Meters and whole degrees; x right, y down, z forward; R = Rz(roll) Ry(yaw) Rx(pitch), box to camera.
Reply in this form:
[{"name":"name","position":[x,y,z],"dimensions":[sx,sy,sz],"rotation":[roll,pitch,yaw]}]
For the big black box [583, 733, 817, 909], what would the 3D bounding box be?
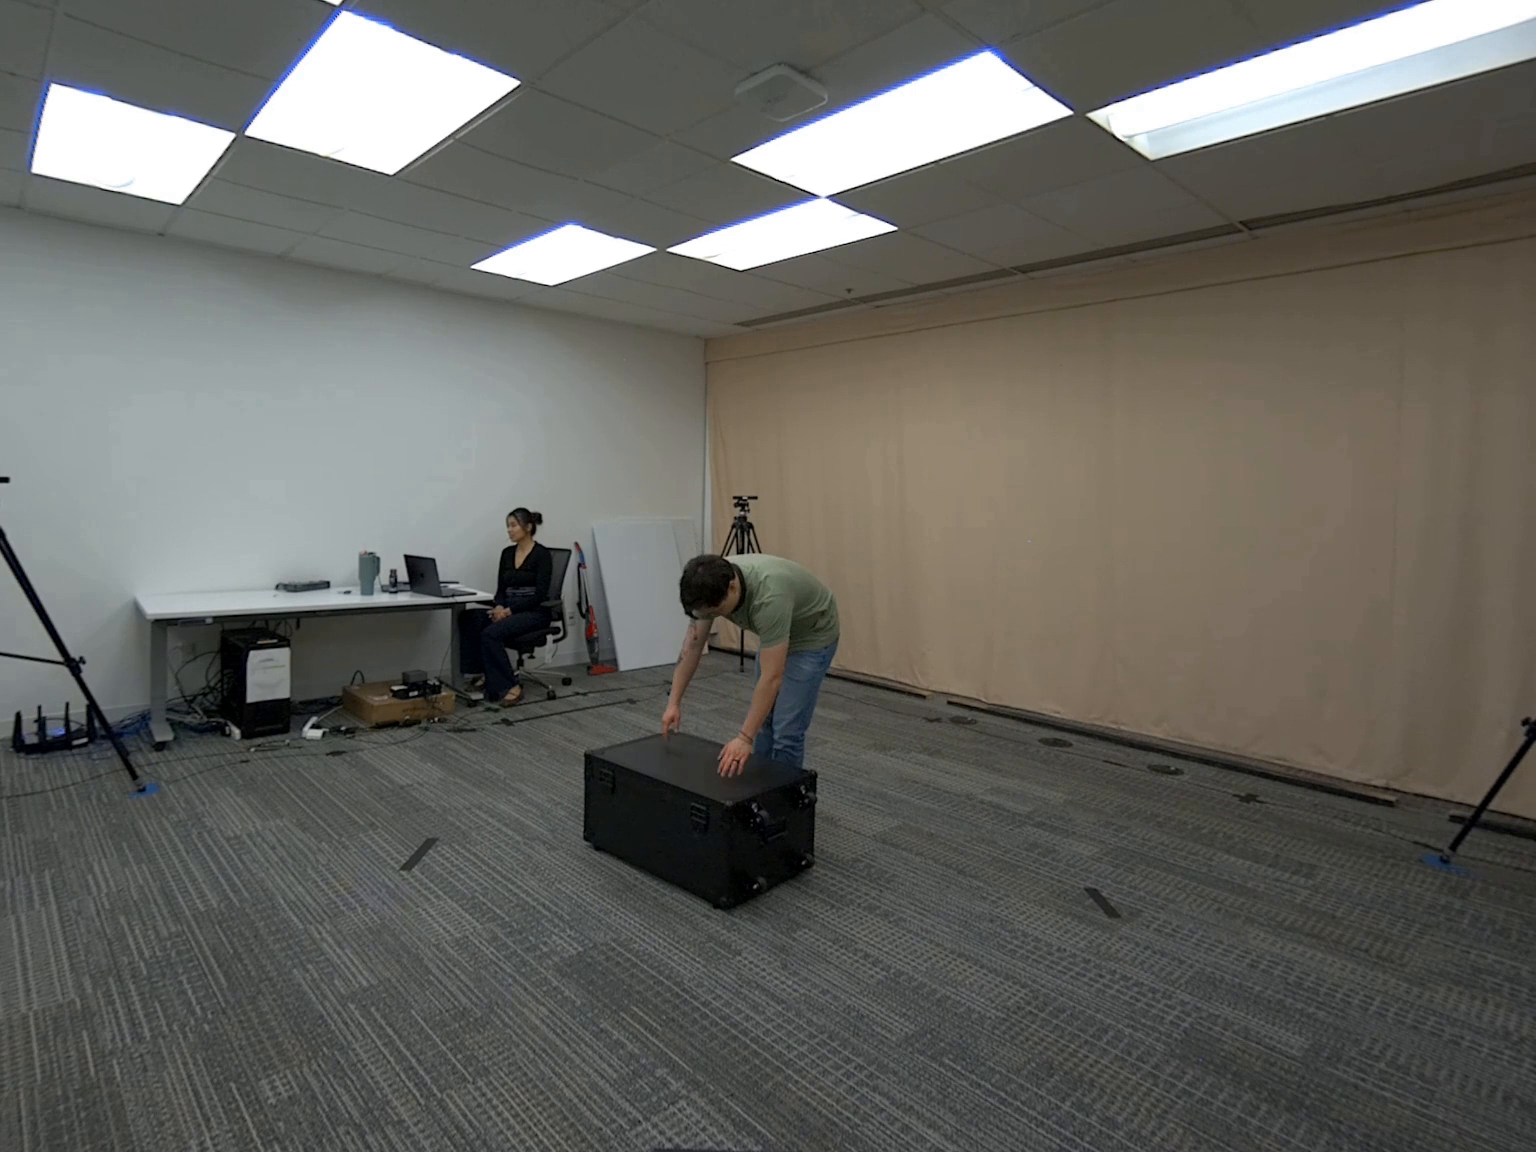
[{"name":"big black box","position":[-0.258,0.903,3.198],"dimensions":[0.883,0.395,0.509],"rotation":[4,5,41]}]
